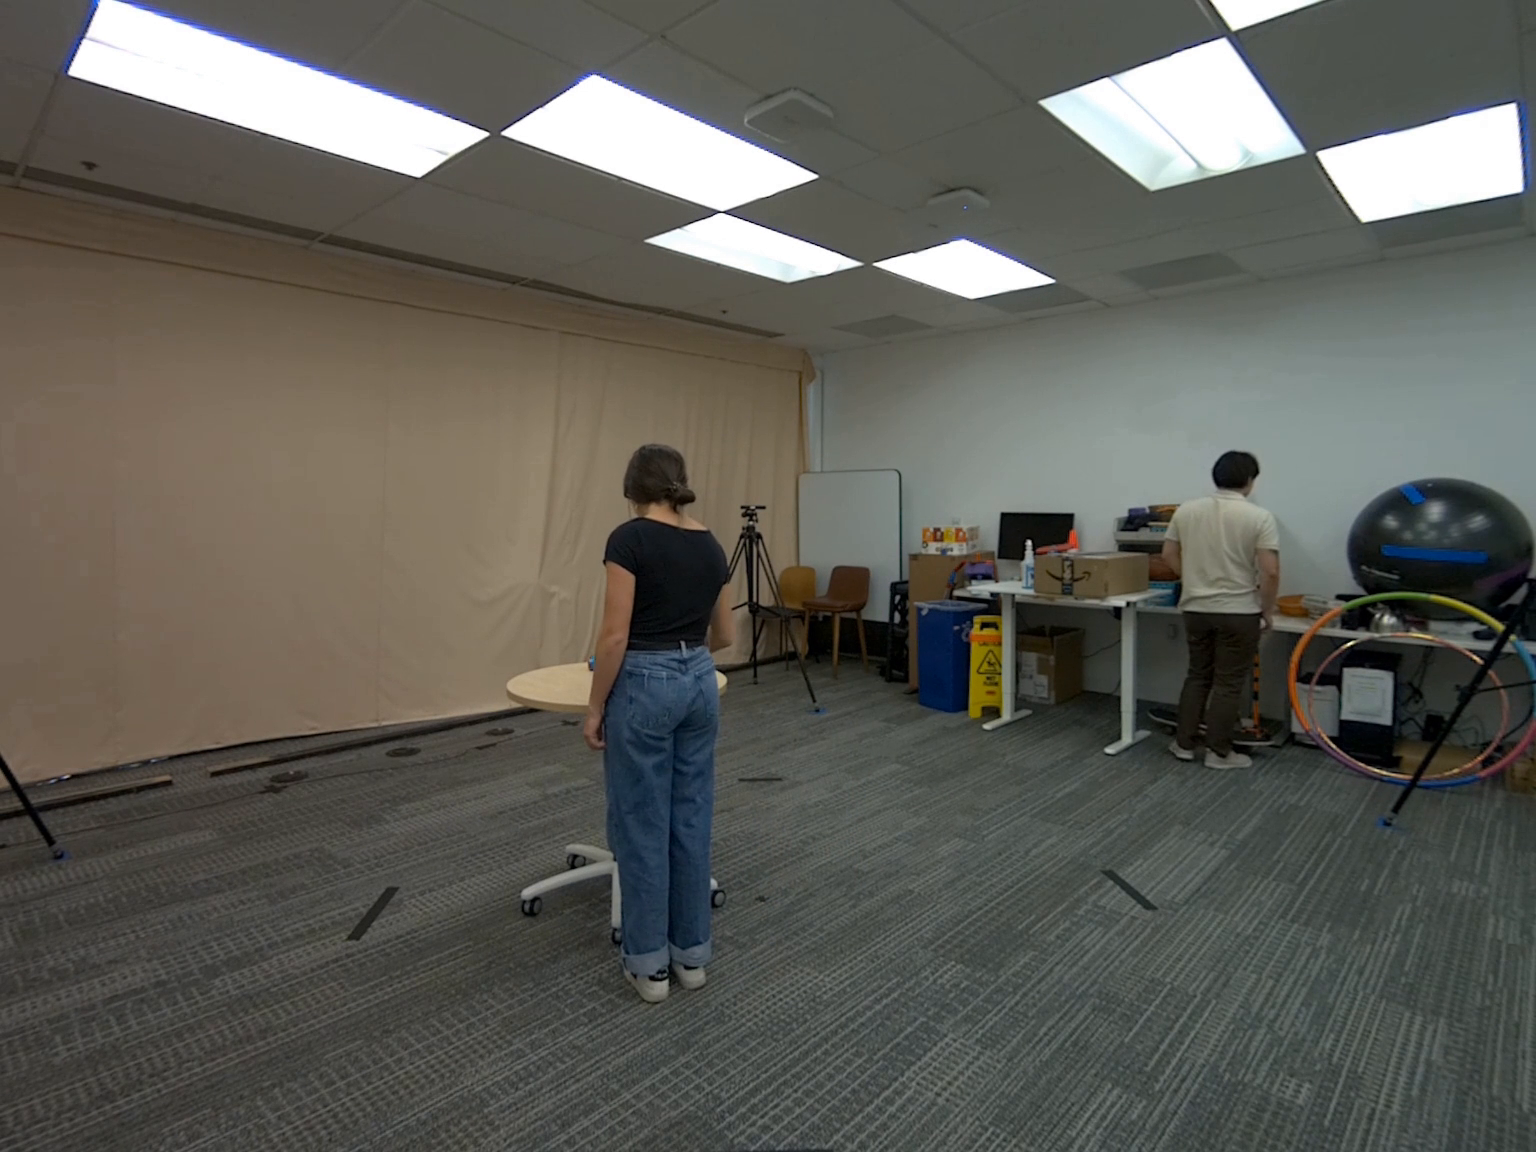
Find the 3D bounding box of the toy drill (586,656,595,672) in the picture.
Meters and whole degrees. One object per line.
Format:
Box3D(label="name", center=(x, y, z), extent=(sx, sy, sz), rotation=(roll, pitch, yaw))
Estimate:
Box3D(label="toy drill", center=(-0.587, 0.319, 3.175), extent=(0.147, 0.060, 0.169), rotation=(-1, 13, 8))
